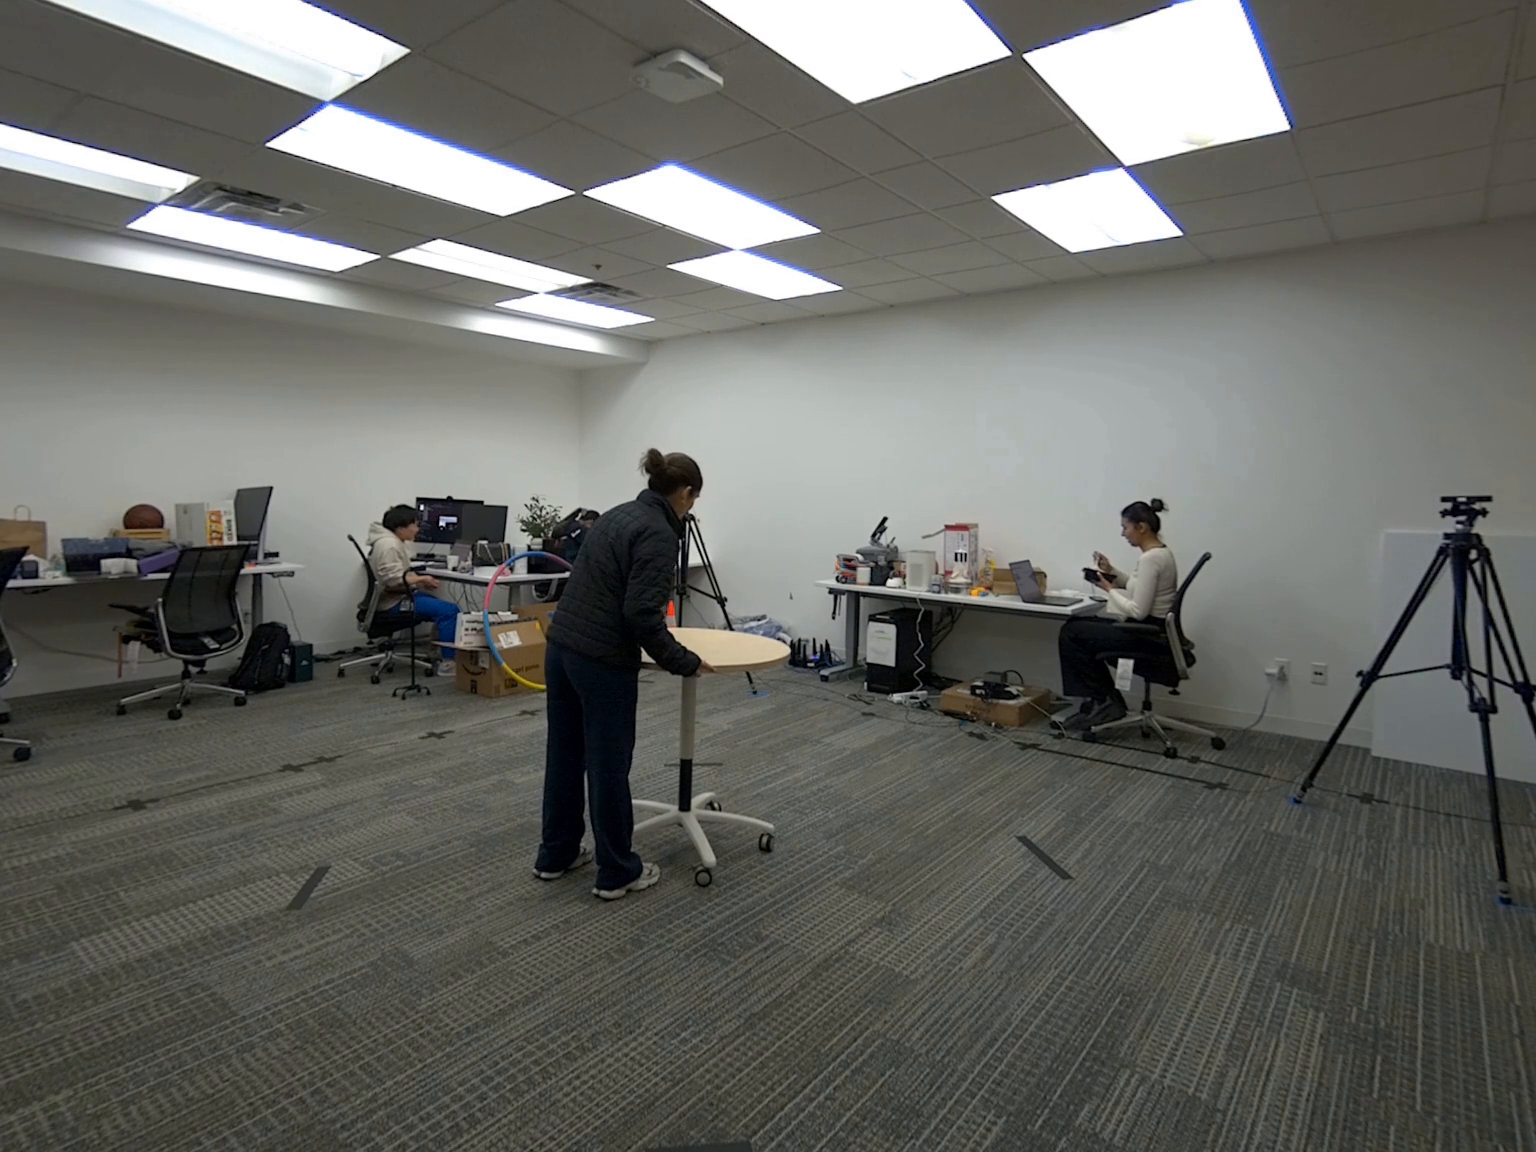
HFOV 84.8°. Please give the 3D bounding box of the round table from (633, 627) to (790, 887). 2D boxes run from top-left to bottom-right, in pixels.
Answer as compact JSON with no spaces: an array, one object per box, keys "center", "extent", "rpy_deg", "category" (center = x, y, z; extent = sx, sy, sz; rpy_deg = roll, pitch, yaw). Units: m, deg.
[{"center":[-0.305,0.647,3.292],"extent":[0.784,0.784,0.789],"rpy_deg":[2,4,-2],"category":"round table"}]
